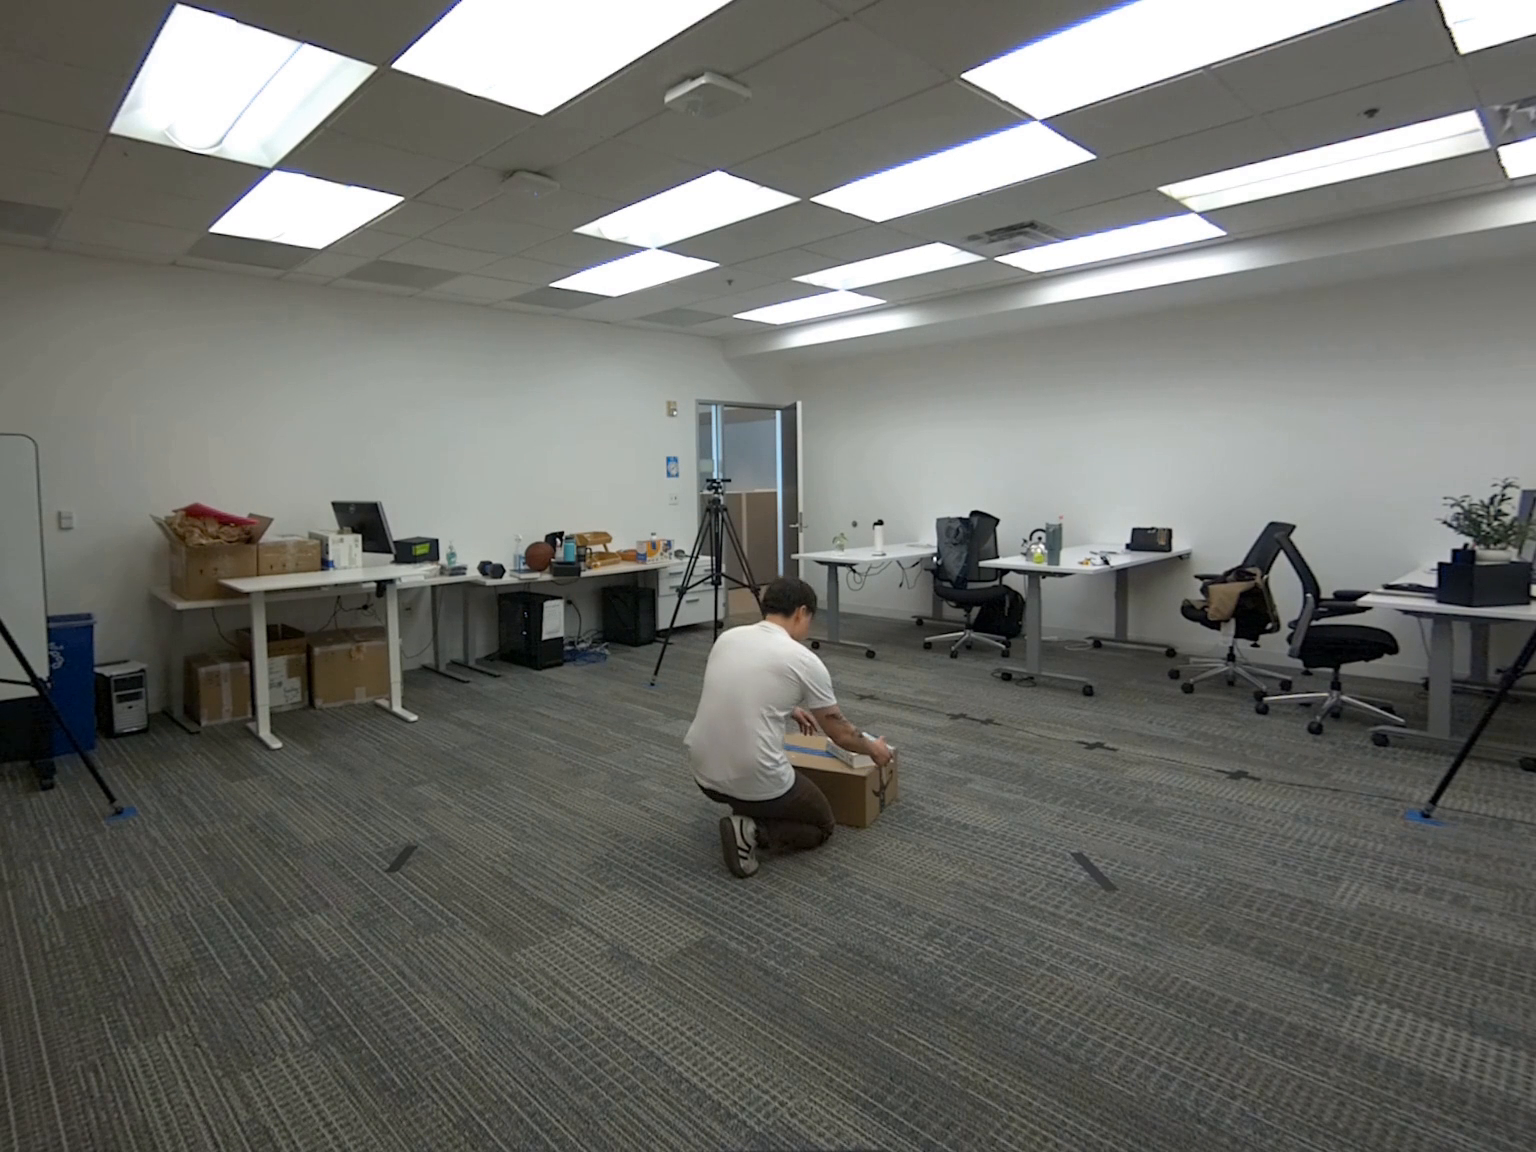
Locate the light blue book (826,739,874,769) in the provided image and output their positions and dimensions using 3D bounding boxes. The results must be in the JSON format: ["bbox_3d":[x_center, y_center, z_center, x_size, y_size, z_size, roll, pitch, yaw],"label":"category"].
[{"bbox_3d":[0.392,0.739,3.632,0.188,0.059,0.266,-4,6,-20],"label":"light blue book"}]
